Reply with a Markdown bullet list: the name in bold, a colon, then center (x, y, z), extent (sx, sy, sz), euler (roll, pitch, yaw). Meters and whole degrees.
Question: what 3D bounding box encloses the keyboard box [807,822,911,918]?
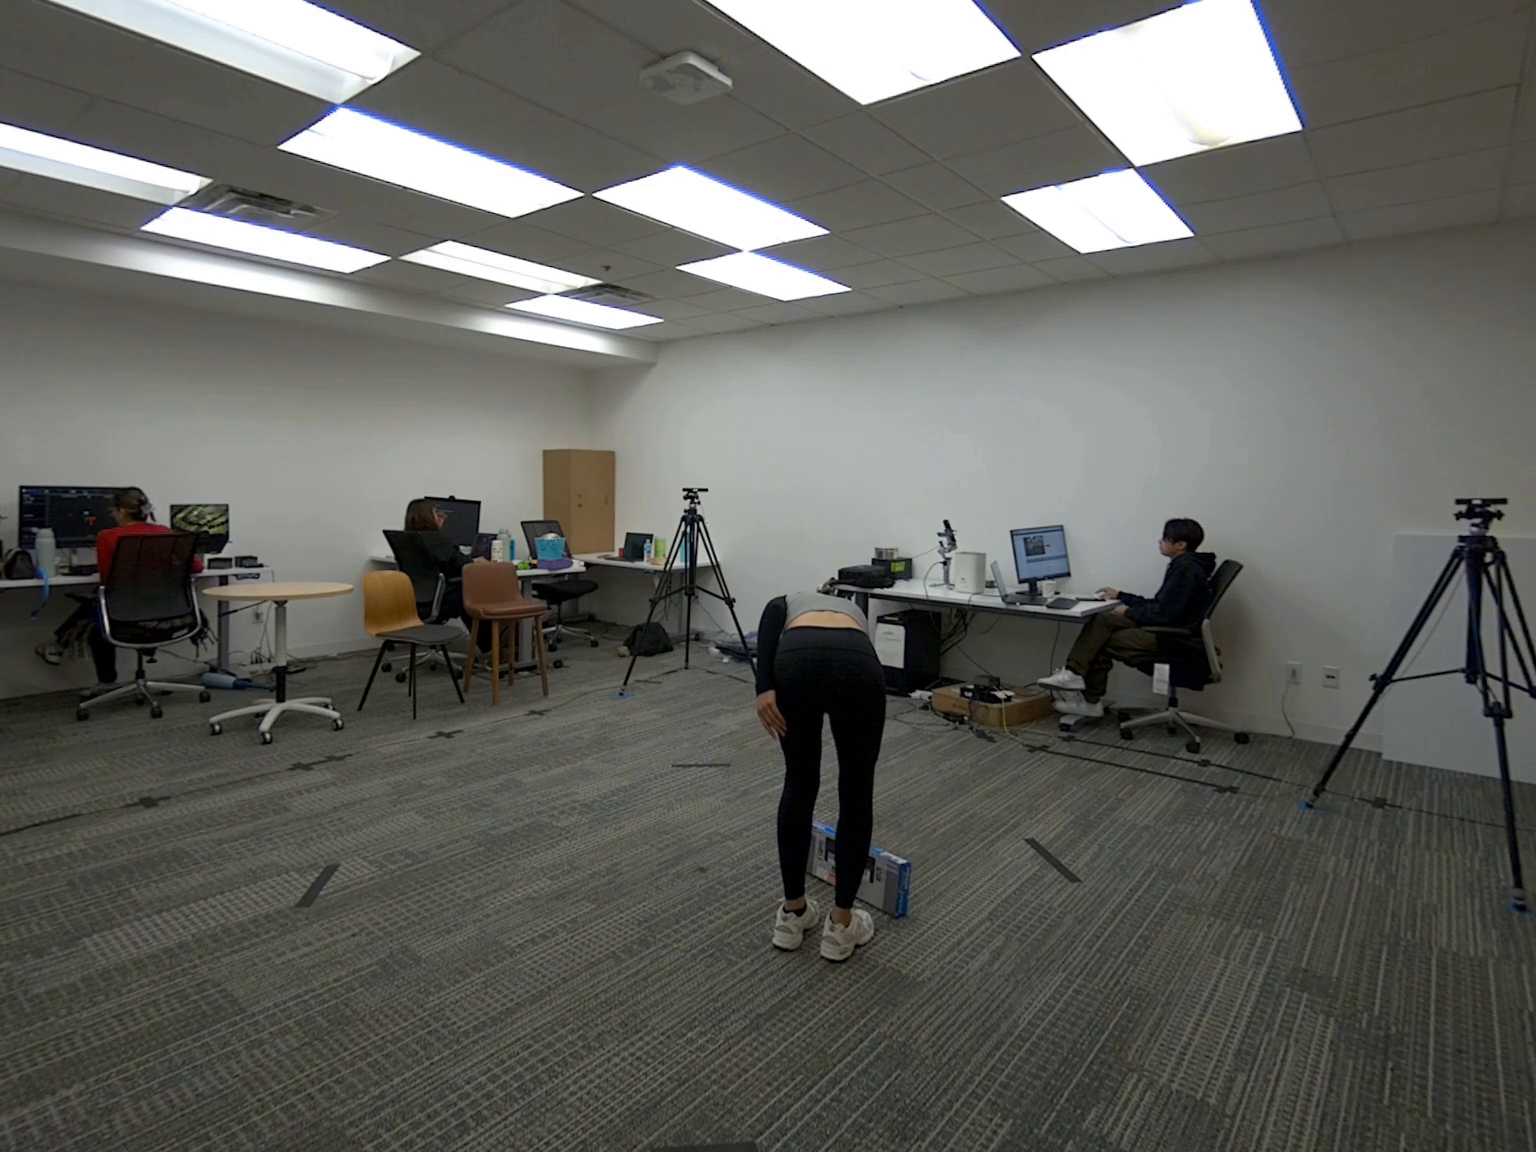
- **keyboard box**: center (0.292, 1.009, 2.961), extent (0.057, 0.176, 0.452), euler (5, 2, -42)
